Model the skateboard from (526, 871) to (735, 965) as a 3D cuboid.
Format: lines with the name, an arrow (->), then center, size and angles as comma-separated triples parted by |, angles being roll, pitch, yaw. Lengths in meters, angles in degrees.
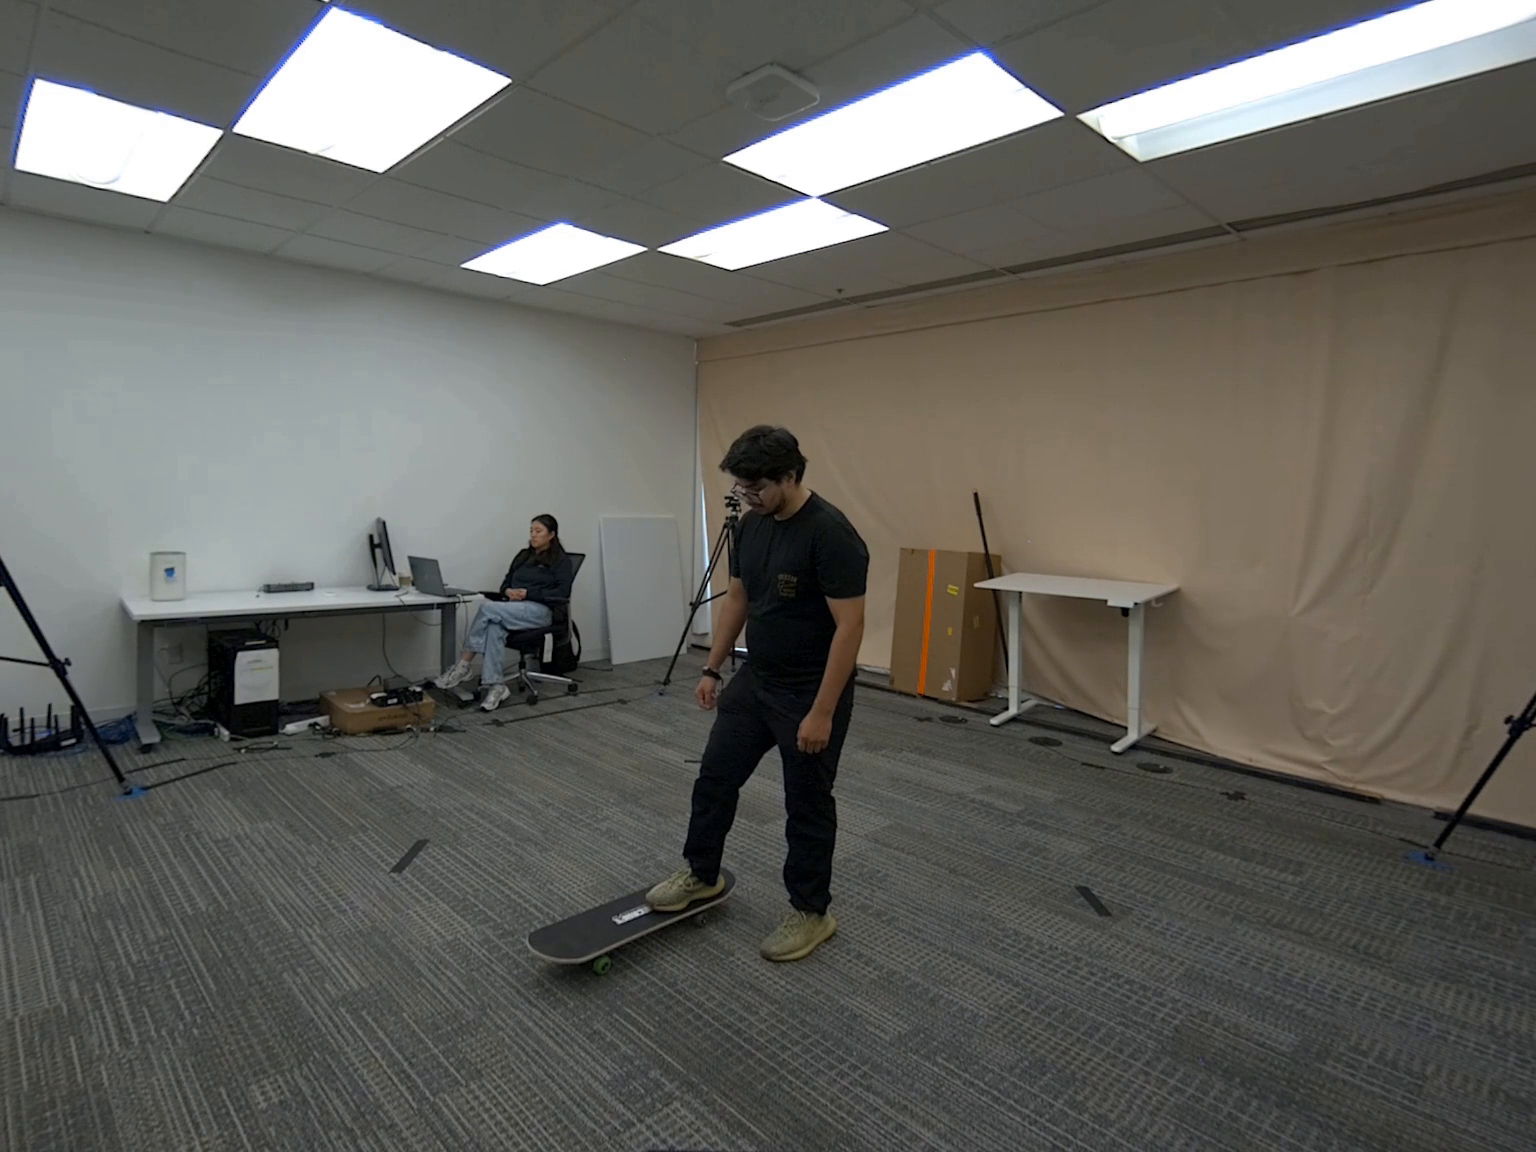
skateboard -> -0.405, 1.087, 2.627 | 0.199, 0.110, 0.767 | 12, 10, 42
